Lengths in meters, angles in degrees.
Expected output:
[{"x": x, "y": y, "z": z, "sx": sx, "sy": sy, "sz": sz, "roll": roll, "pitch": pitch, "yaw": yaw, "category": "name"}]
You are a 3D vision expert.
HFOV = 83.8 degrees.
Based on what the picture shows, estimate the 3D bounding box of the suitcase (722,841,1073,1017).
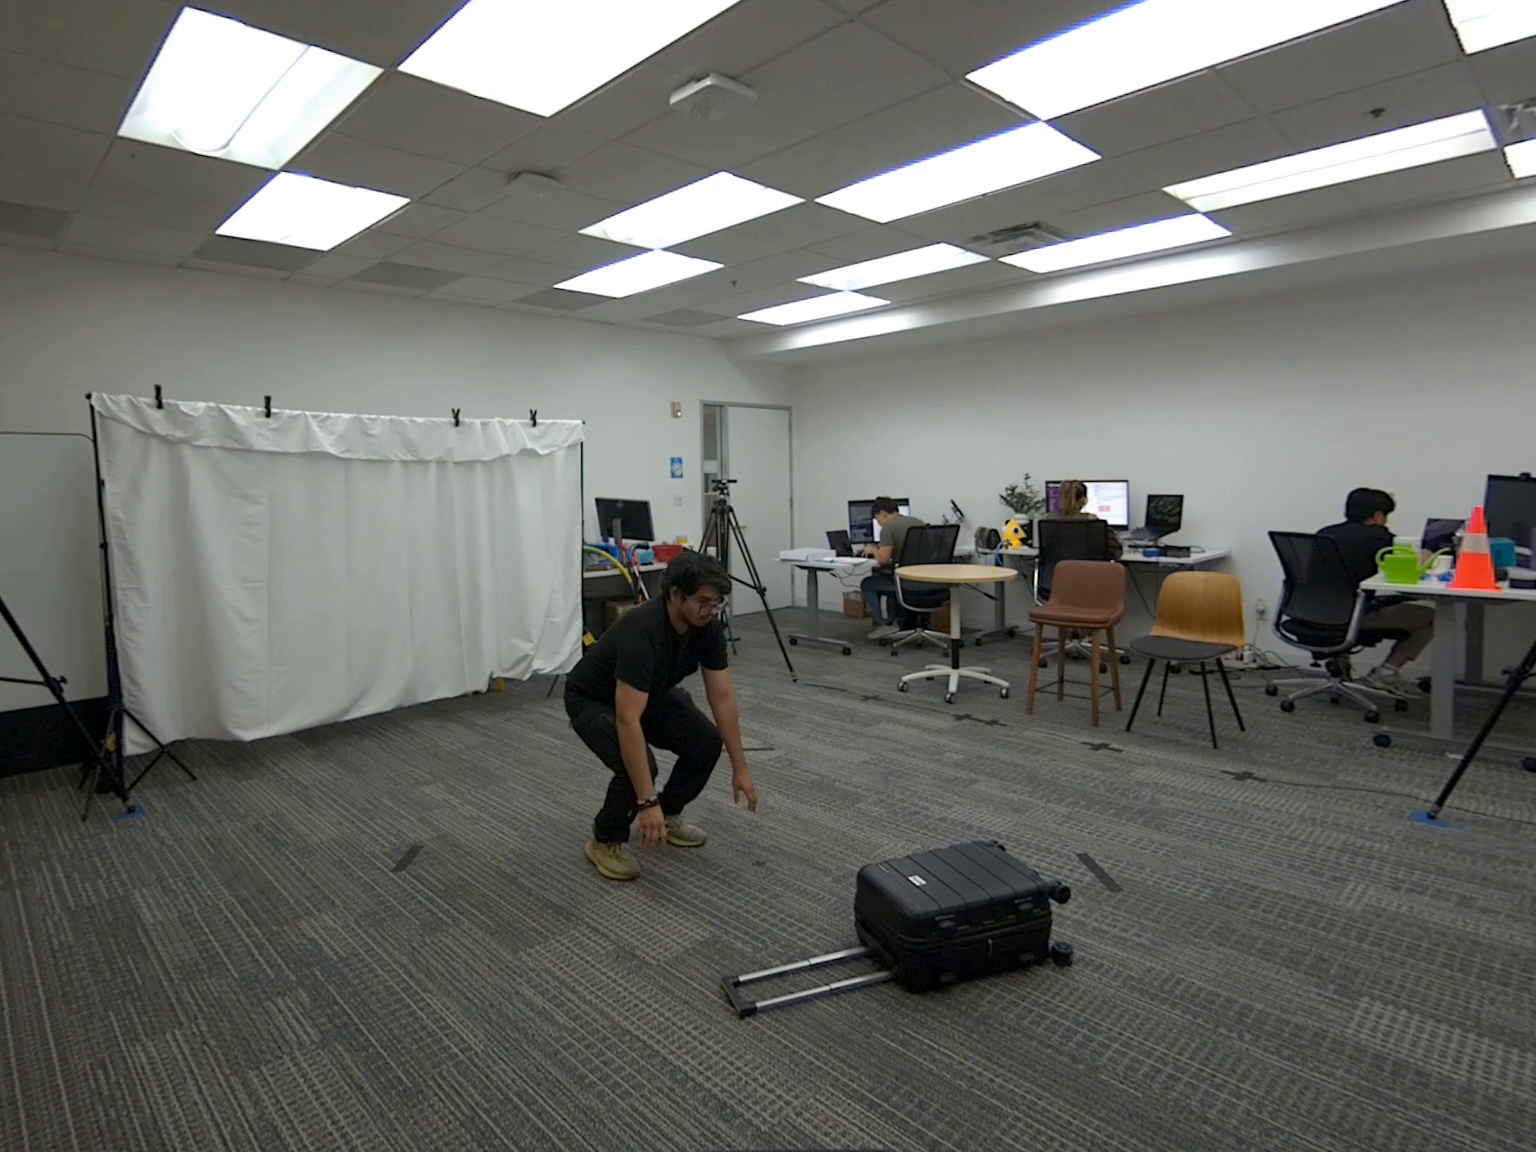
[{"x": 0.361, "y": 0.990, "z": 2.445, "sx": 0.961, "sy": 0.256, "sz": 0.393, "roll": -2, "pitch": 6, "yaw": -20, "category": "suitcase"}]
